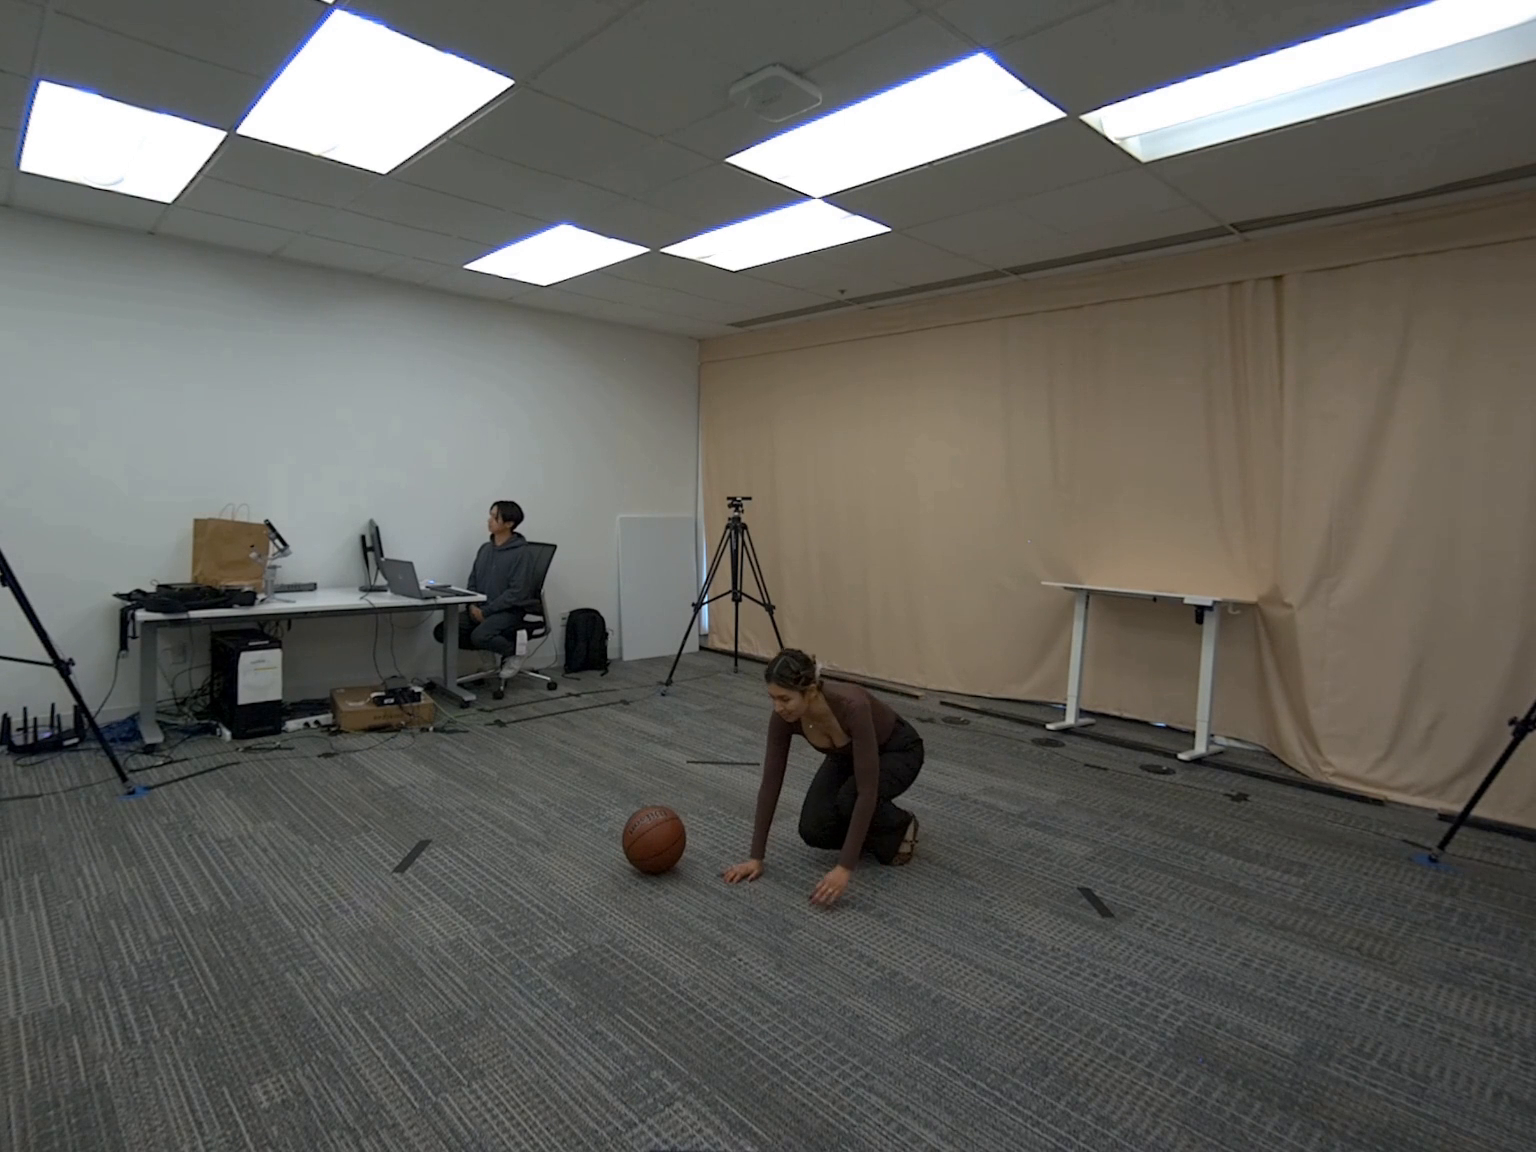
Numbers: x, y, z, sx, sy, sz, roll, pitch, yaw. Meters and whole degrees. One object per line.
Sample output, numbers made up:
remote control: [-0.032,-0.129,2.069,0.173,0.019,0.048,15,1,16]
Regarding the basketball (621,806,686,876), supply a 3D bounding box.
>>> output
basketball: [-0.427,0.973,3.127,0.236,0.235,0.237,1,4,-1]
